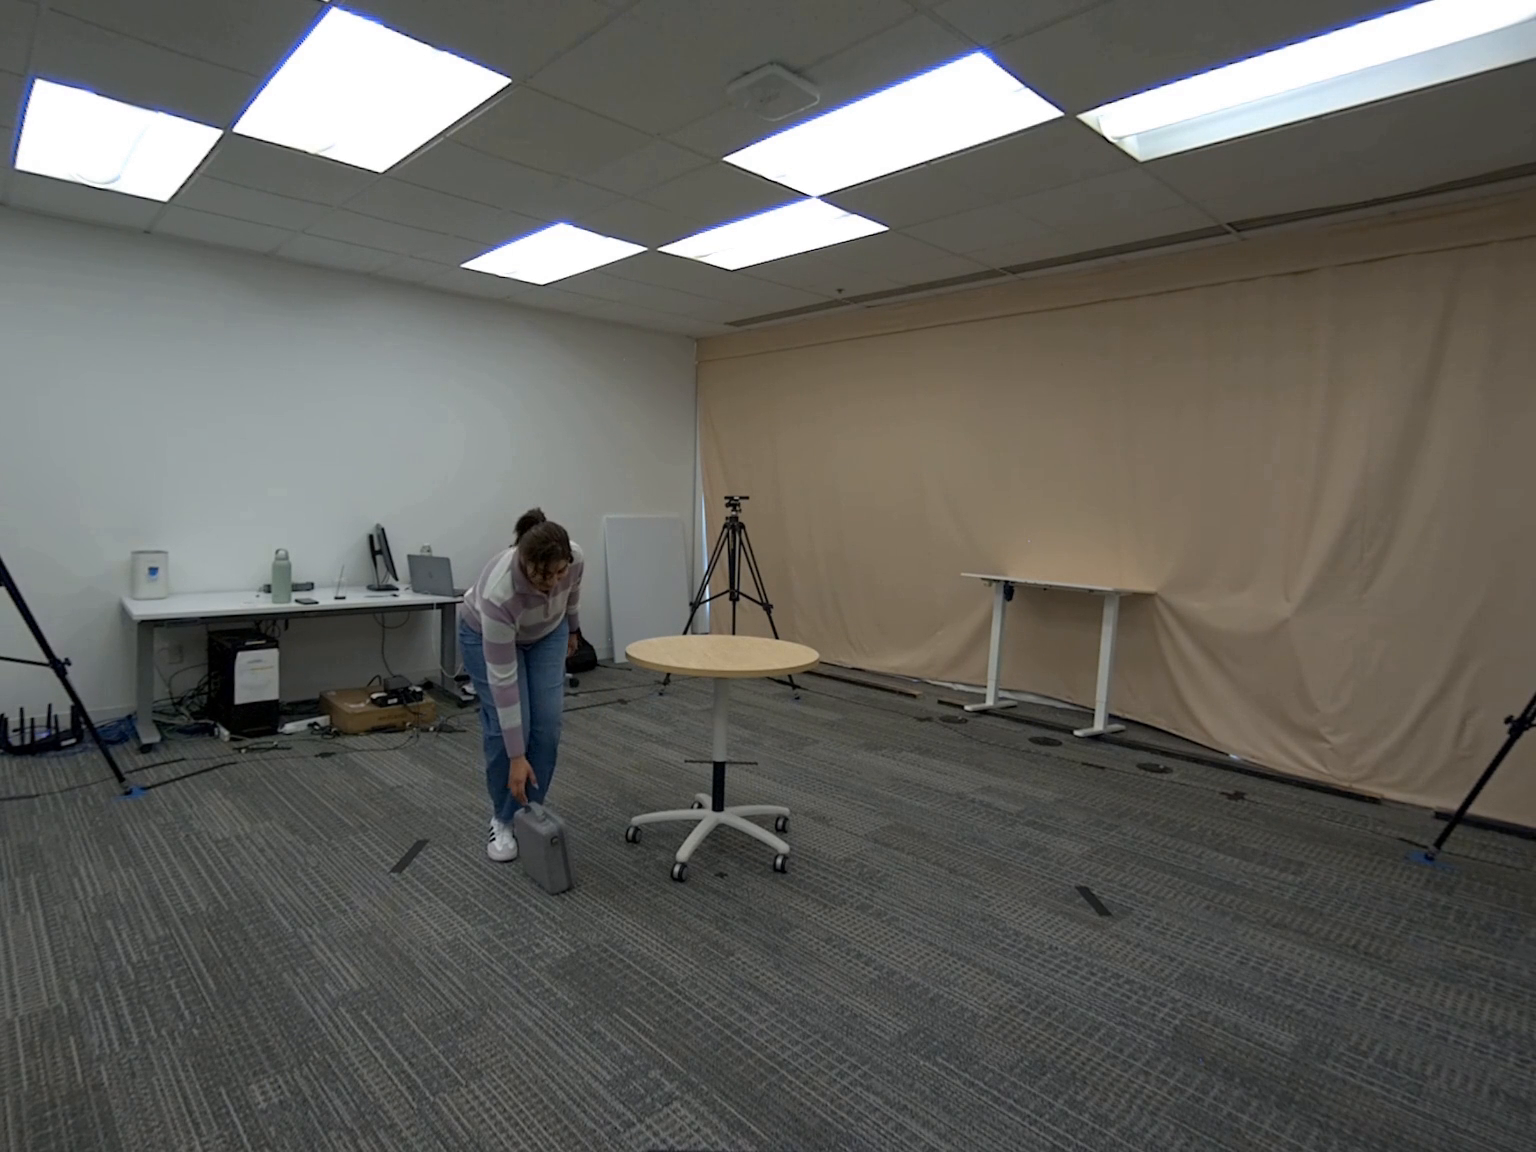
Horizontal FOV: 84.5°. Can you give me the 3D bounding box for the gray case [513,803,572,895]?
[{"bbox_3d":[-0.805,0.967,3.003,0.102,0.259,0.263,-13,11,-37],"label":"gray case"}]
